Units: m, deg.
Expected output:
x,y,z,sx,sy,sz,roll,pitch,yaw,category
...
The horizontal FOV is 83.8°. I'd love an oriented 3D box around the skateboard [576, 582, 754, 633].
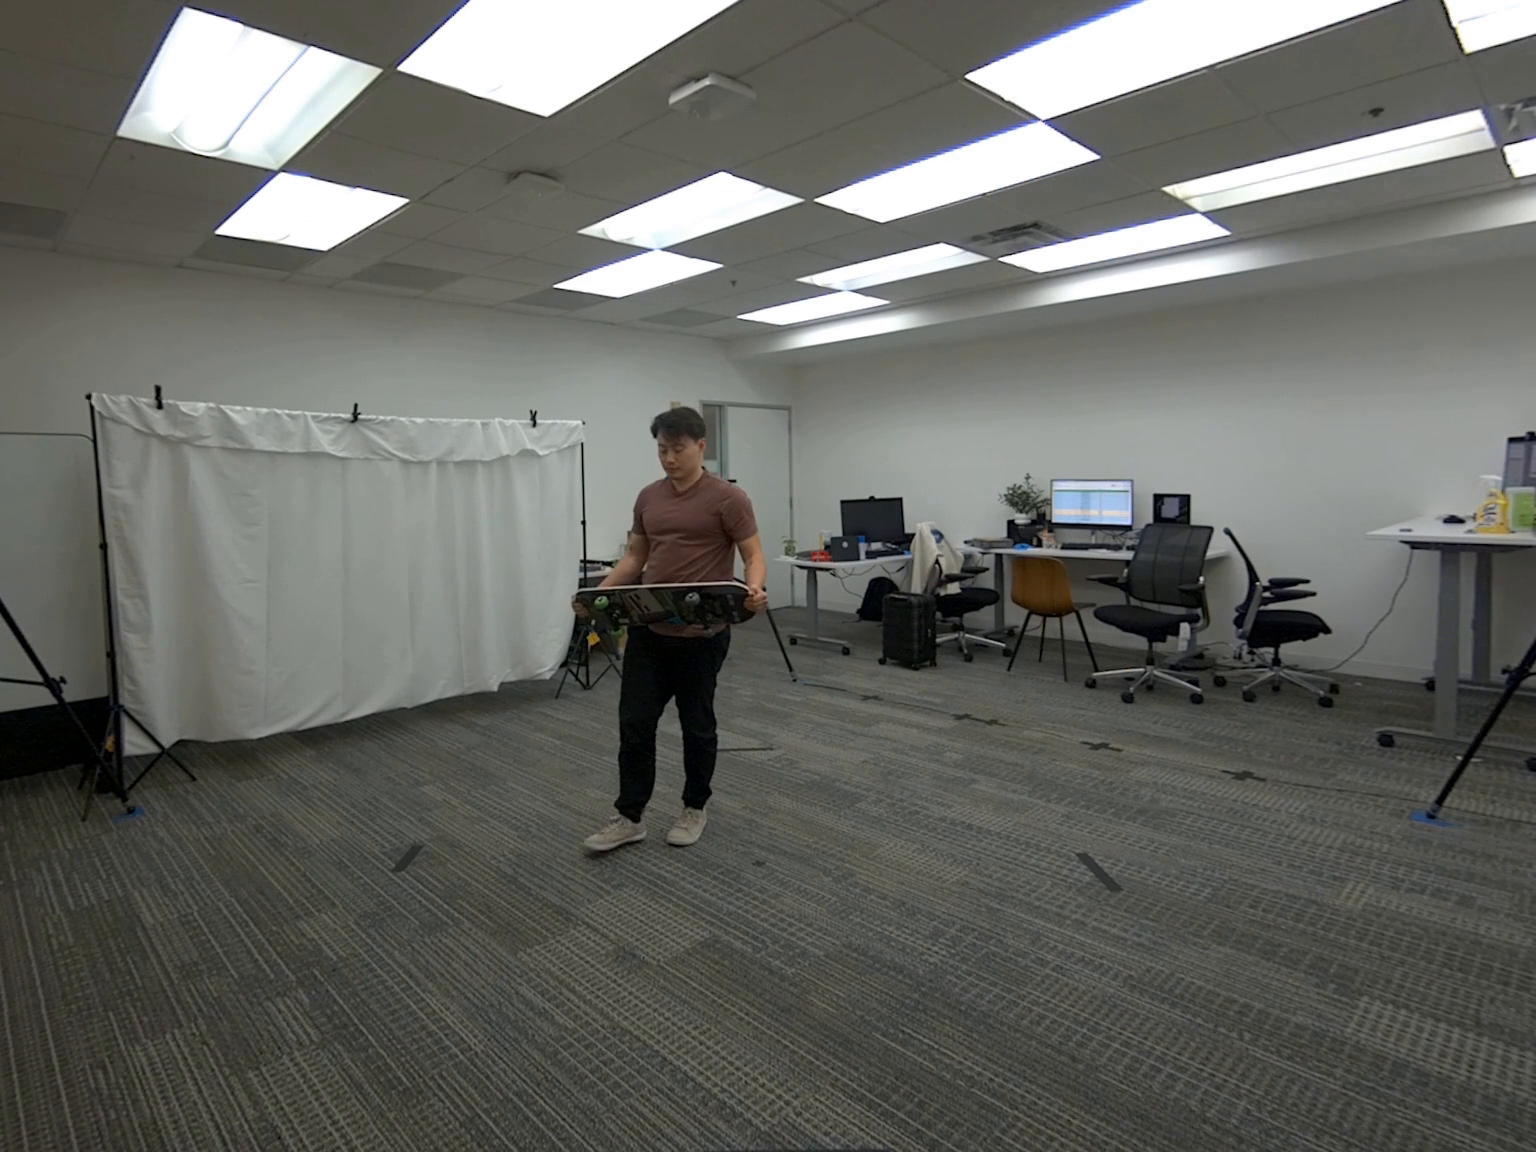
x,y,z,sx,sy,sz,roll,pitch,yaw,category
-0.420,0.132,3.133,0.803,0.187,0.111,-3,35,27,skateboard
